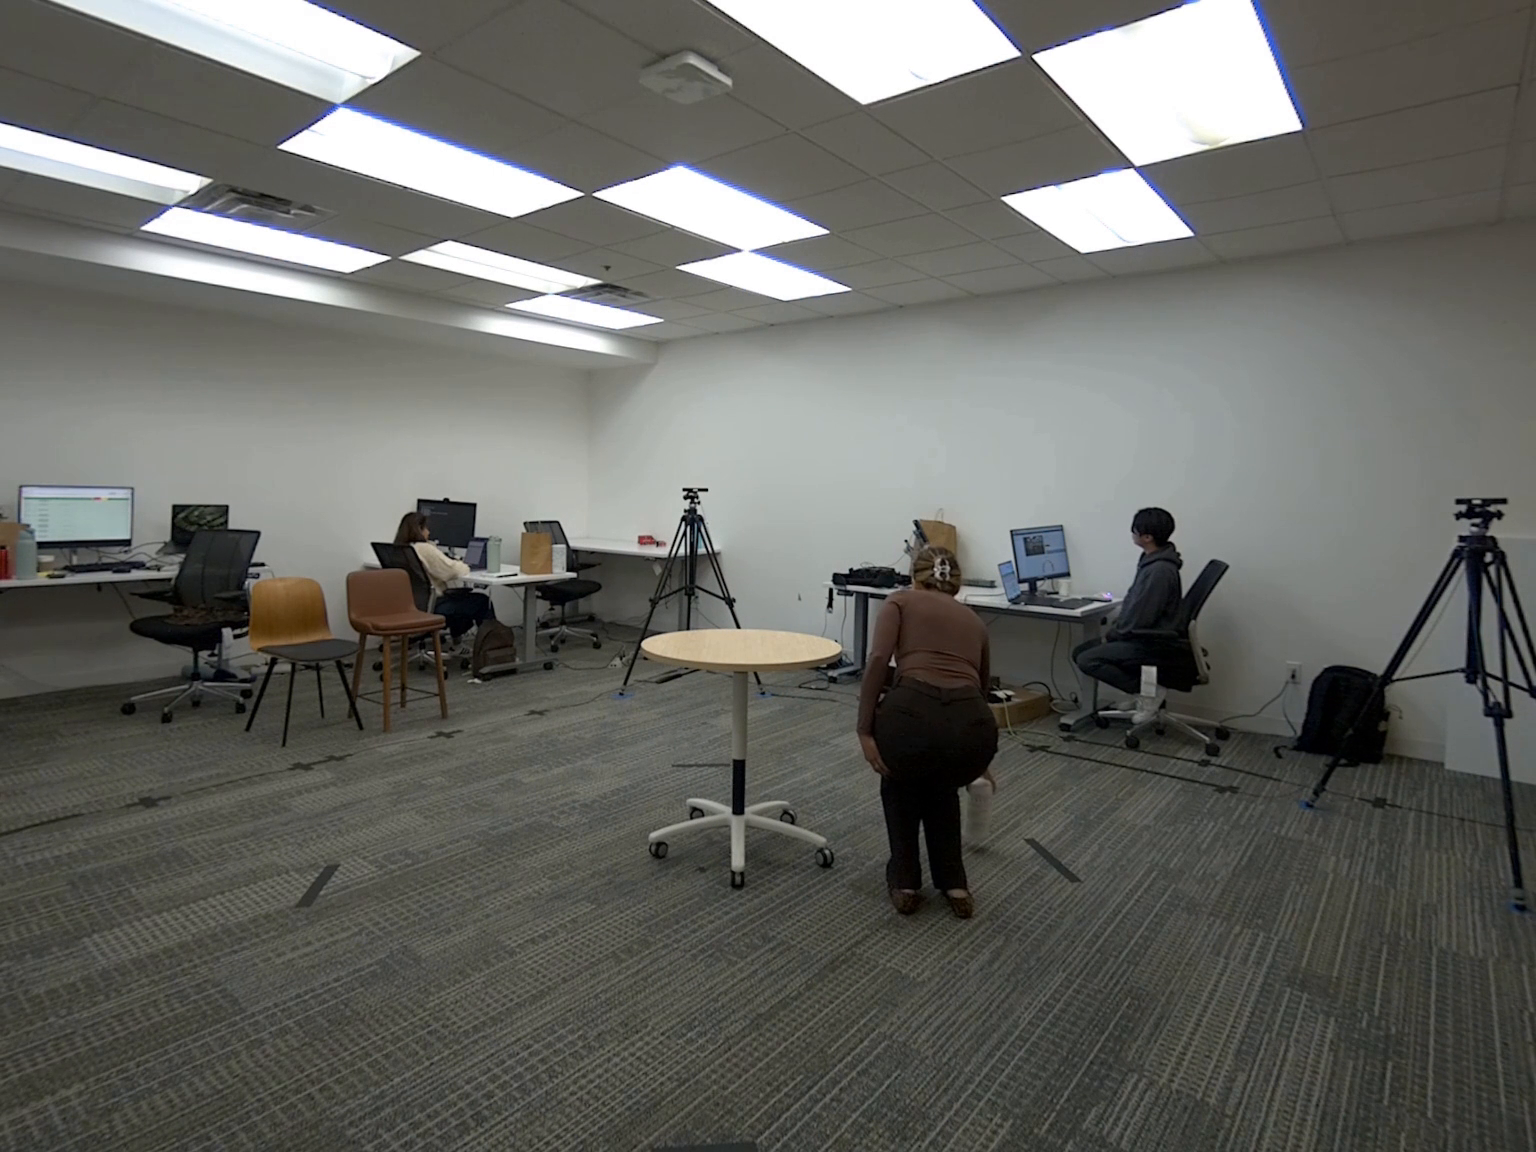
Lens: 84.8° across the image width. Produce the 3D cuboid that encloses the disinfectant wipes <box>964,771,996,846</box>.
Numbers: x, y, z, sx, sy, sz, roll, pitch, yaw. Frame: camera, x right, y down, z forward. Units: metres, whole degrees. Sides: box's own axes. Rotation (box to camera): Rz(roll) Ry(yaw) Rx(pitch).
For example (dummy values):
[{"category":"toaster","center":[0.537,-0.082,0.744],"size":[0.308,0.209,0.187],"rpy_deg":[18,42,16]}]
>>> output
[{"category":"disinfectant wipes","center":[0.824,0.912,3.356],"size":[0.117,0.217,0.118],"rpy_deg":[1,4,-2]}]
